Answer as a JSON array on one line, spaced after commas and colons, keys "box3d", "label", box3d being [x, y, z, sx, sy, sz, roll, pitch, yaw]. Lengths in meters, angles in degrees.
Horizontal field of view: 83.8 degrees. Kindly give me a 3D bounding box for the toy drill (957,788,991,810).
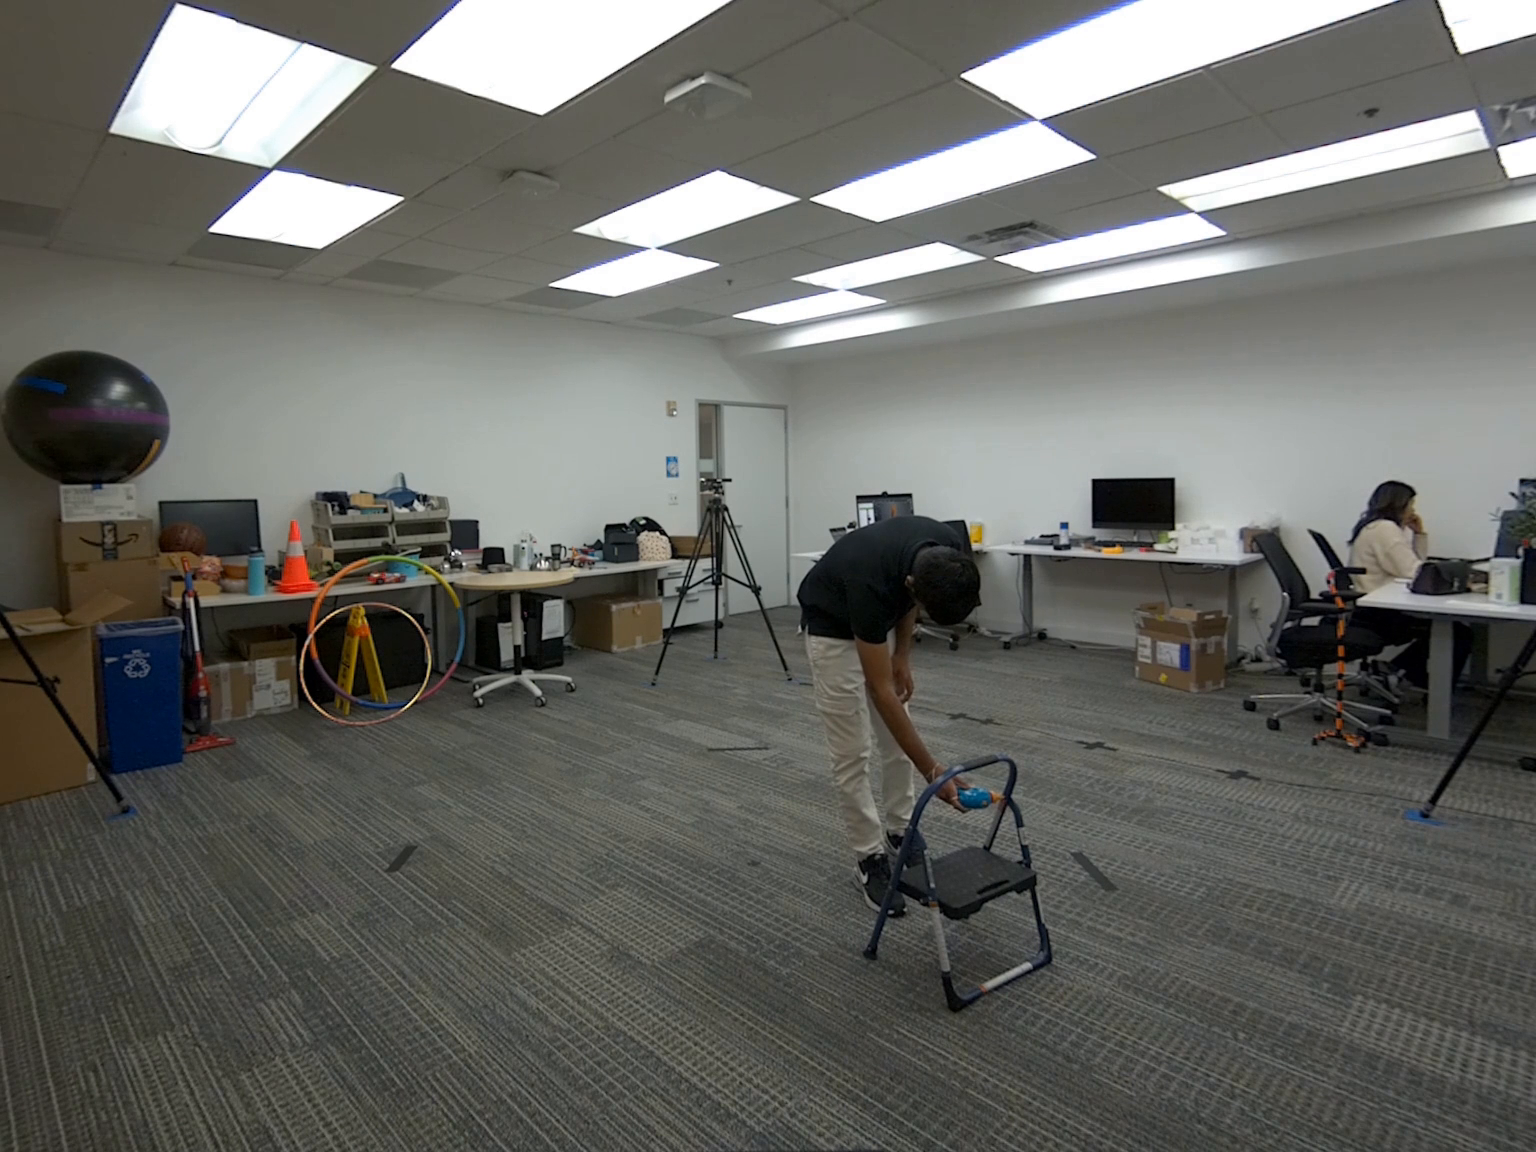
[{"box3d": [0.600, 0.641, 2.533, 0.167, 0.060, 0.150, -3, 12, -20], "label": "toy drill"}]
